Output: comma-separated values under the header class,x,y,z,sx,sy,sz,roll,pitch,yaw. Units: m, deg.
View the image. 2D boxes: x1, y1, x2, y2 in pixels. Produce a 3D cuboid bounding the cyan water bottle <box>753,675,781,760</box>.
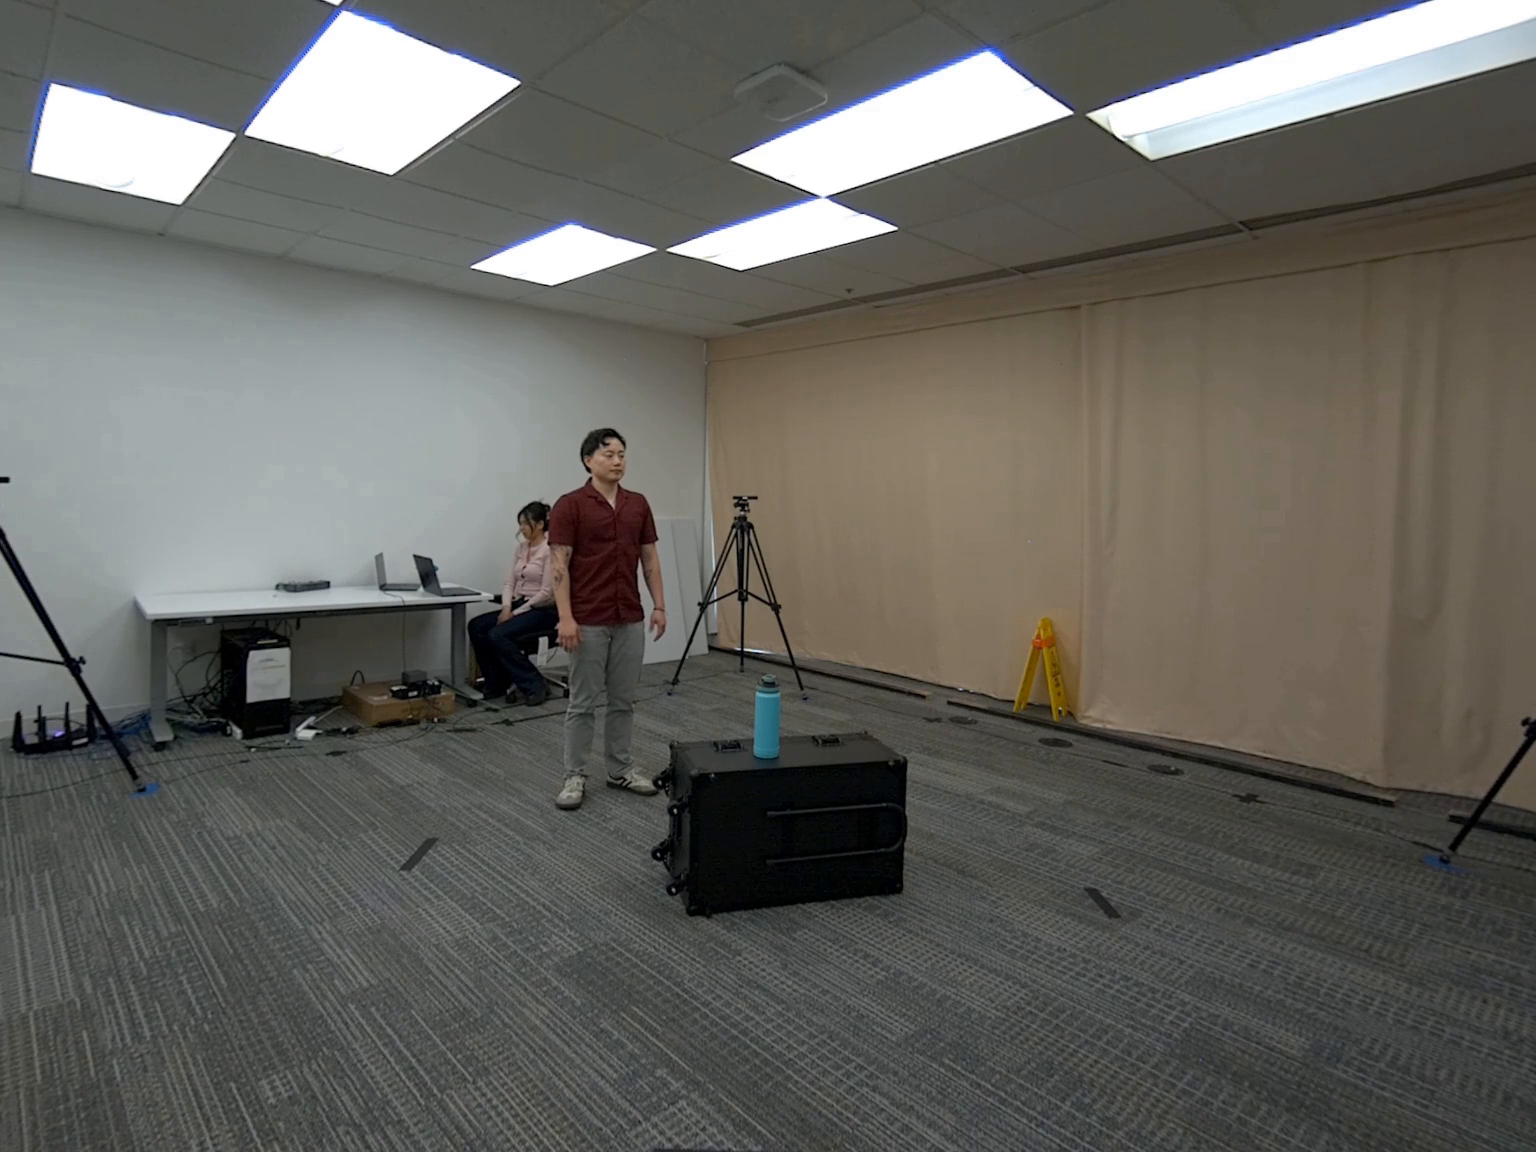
class,x,y,z,sx,sy,sz,roll,pitch,yaw
cyan water bottle,-0.010,0.493,2.975,0.092,0.283,0.092,0,2,-1
